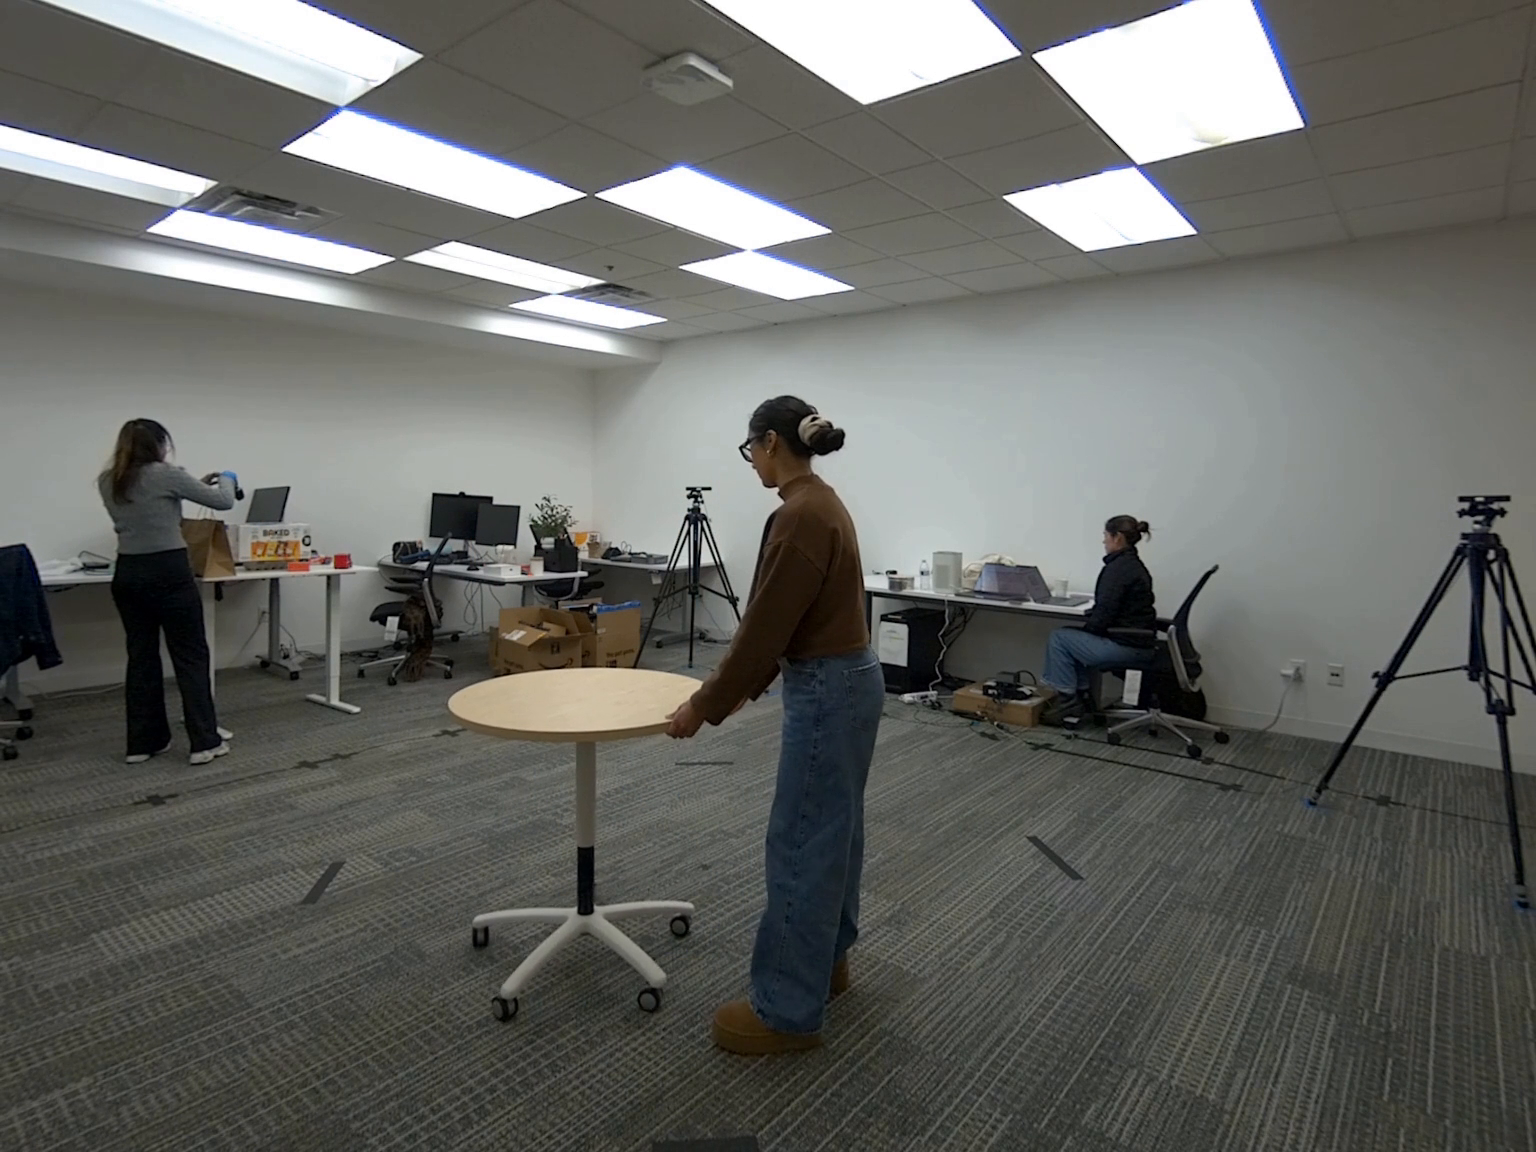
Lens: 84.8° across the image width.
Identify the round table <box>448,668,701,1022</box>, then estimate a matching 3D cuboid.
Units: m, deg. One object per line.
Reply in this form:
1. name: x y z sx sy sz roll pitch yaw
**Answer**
1. round table: -0.538 0.736 2.486 0.763 0.791 0.768 0 4 -2
